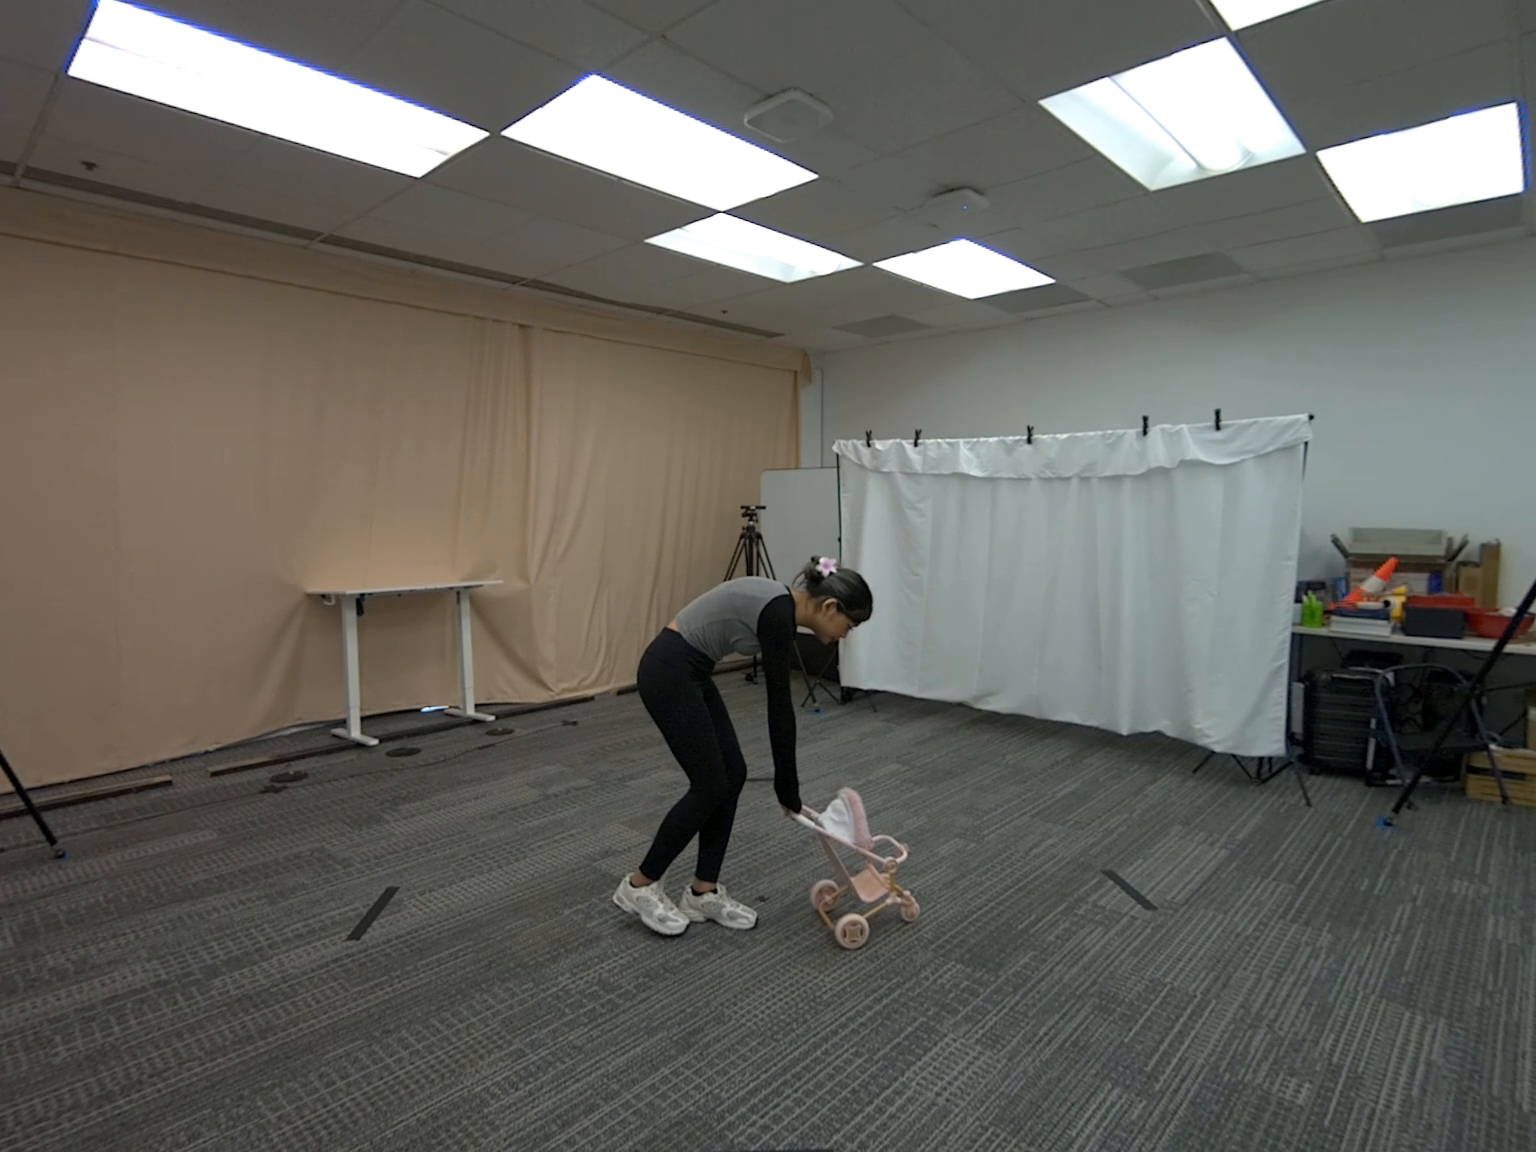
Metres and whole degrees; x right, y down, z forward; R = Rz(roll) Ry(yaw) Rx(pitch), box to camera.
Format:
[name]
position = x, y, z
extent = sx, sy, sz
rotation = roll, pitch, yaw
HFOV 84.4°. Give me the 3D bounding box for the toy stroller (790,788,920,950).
[toy stroller]
position = 0.298, 0.938, 2.764
extent = 0.339, 0.532, 0.285
rotation = -17, 6, -8
